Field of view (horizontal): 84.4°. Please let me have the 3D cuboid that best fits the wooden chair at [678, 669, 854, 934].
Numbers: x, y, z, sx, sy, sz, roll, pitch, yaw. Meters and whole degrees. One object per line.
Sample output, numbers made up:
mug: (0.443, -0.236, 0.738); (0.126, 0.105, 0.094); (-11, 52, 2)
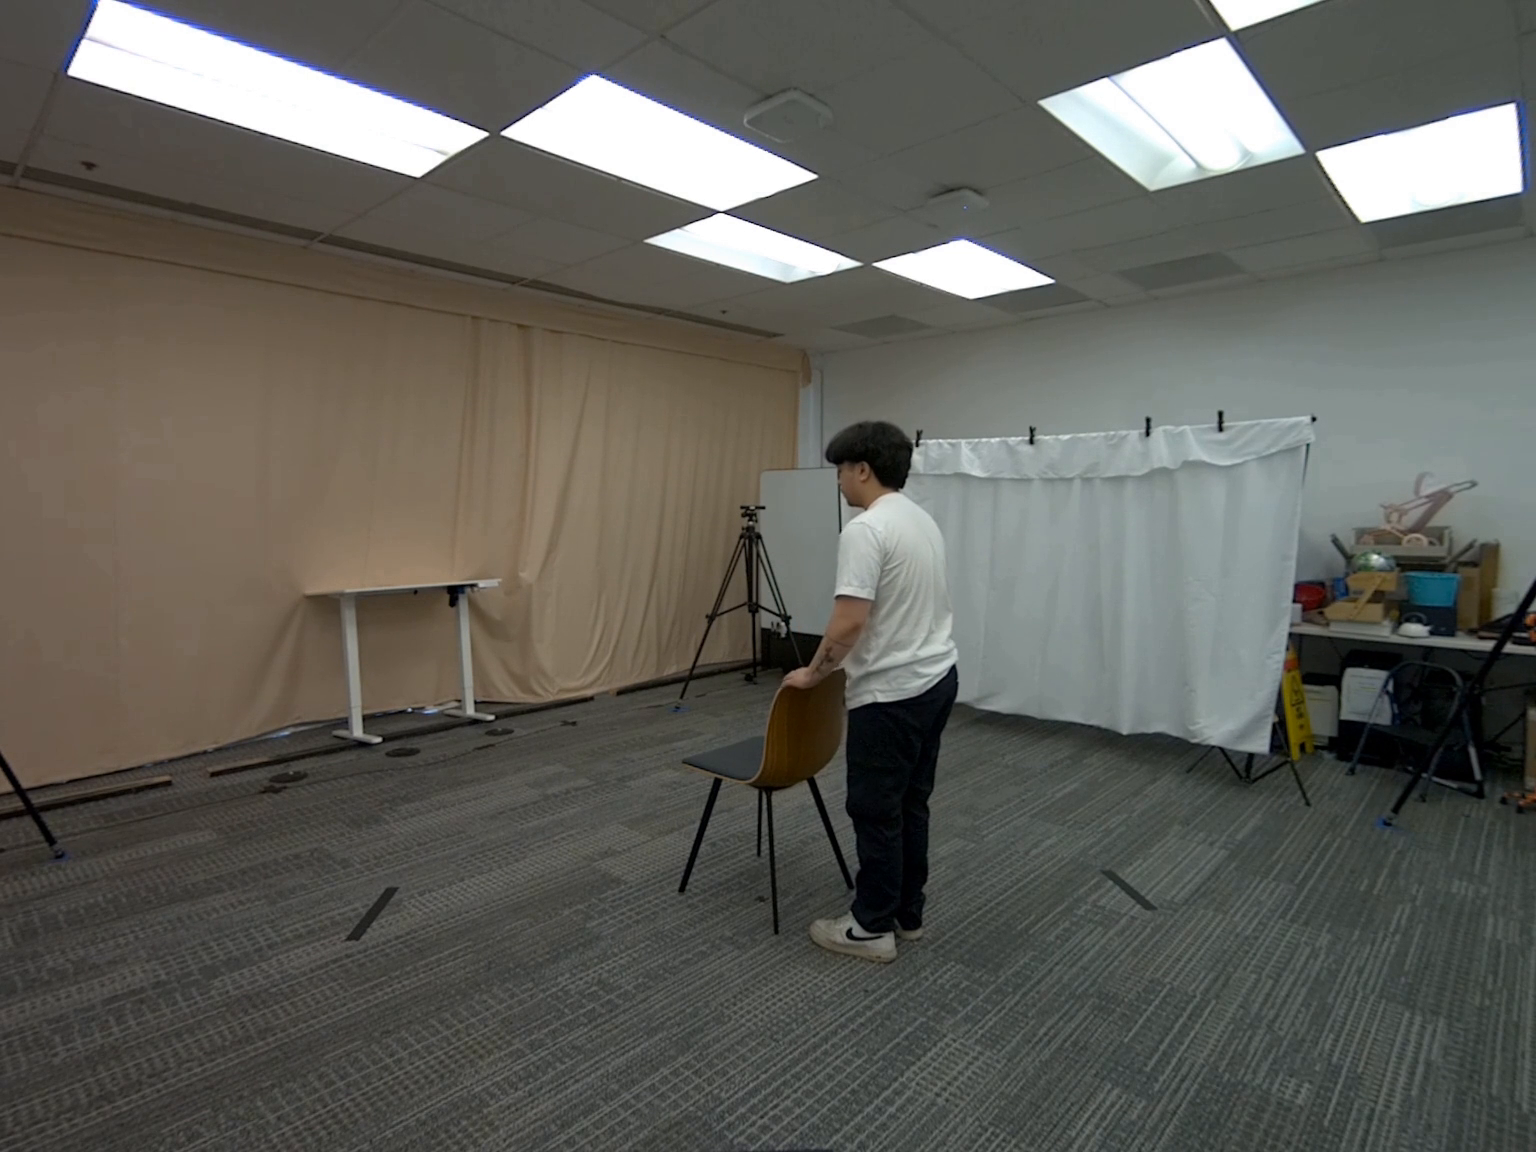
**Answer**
wooden chair: (-0.012, 0.714, 3.026); (0.541, 0.874, 0.463); (9, 8, 41)
